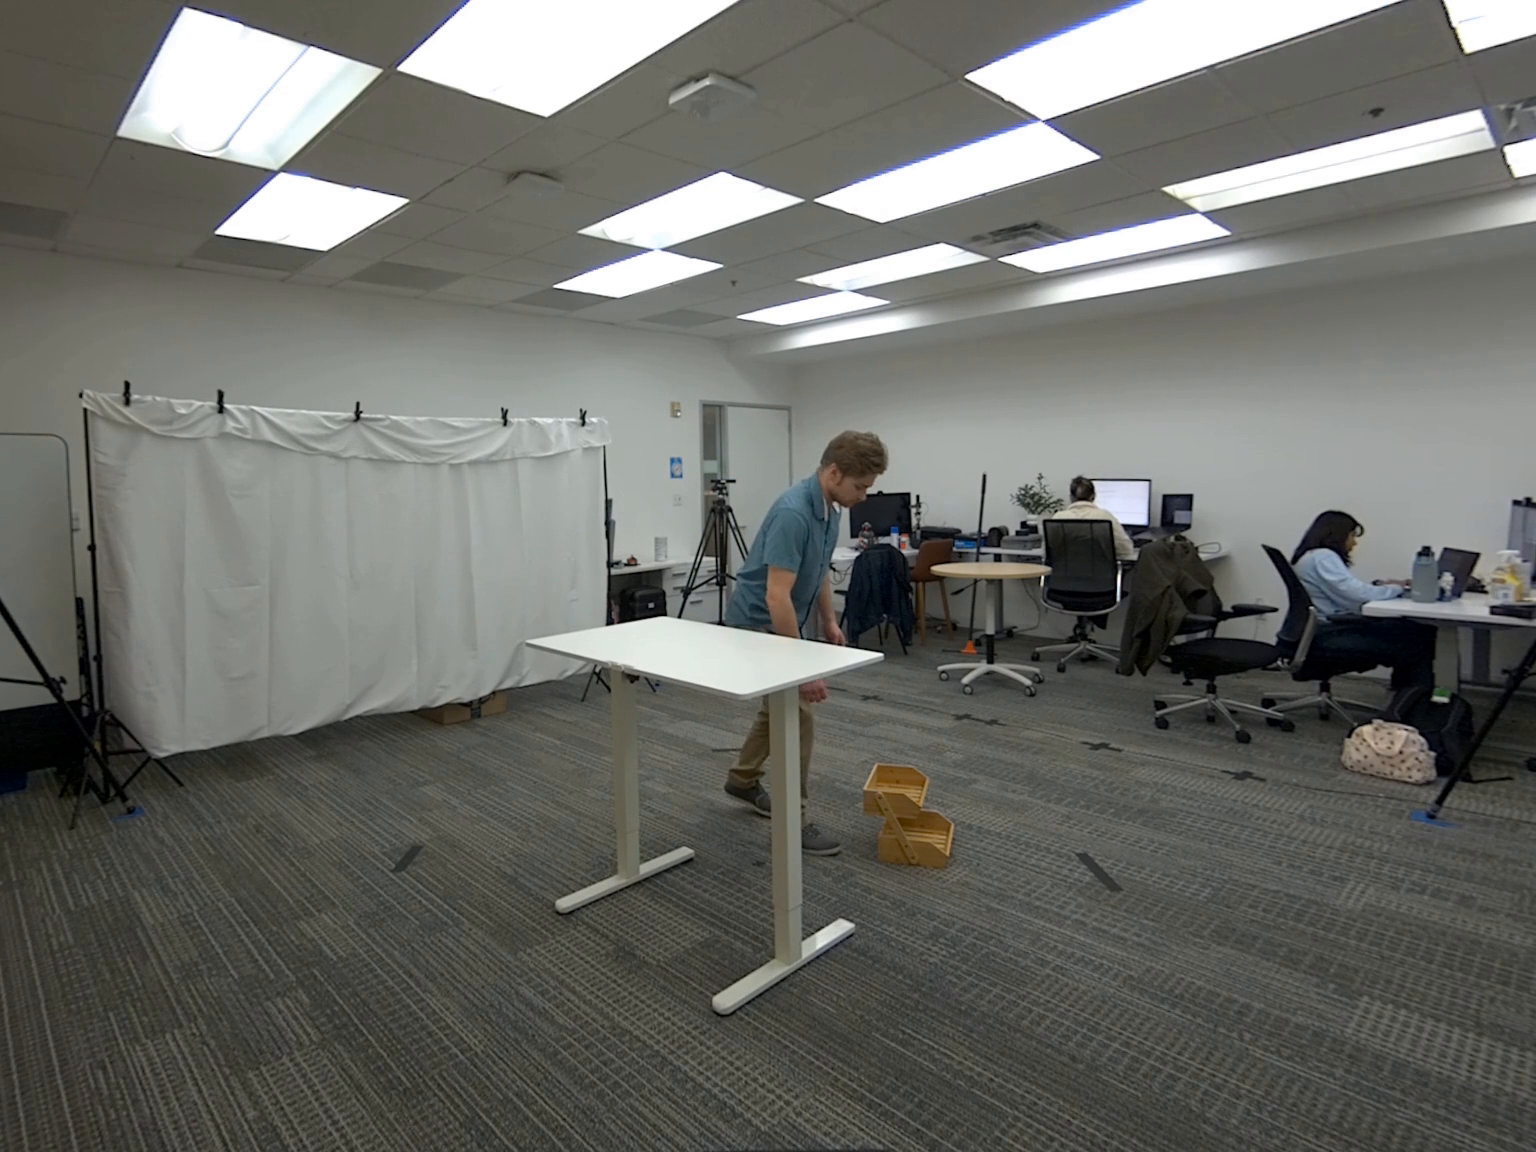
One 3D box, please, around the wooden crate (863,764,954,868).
[{"bbox_3d":[0.543,0.892,3.221,0.307,0.272,0.320,0,5,17],"label":"wooden crate"}]
